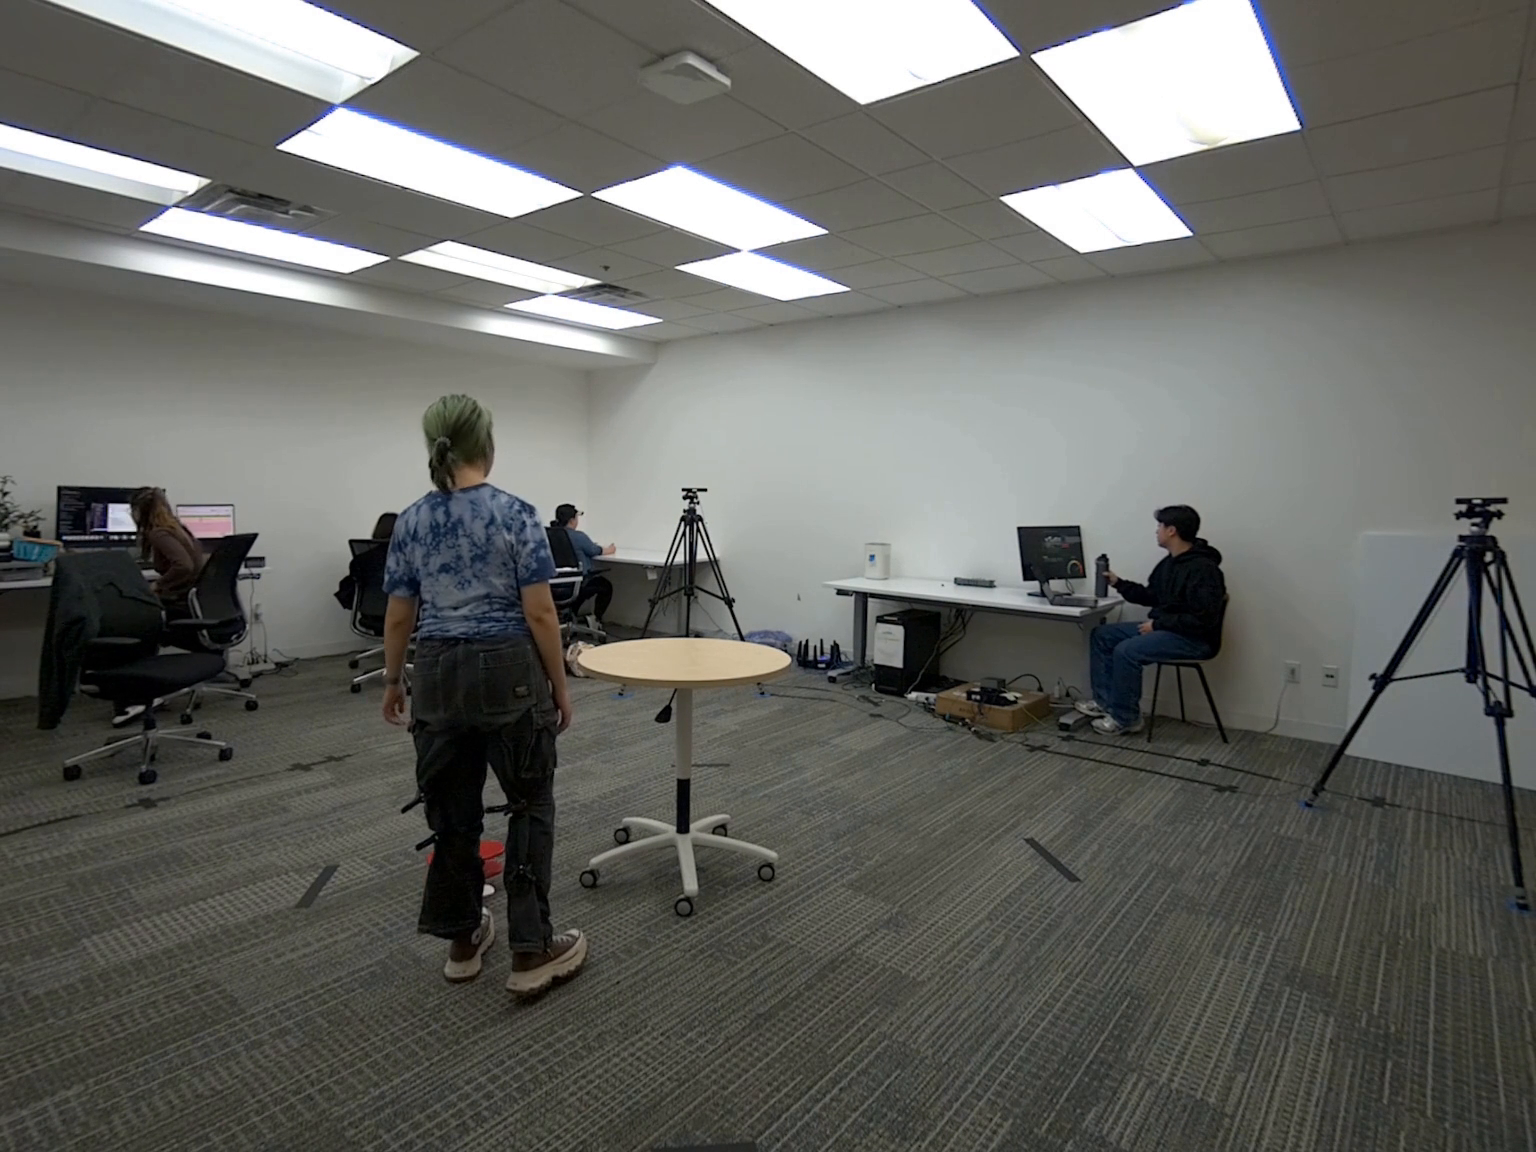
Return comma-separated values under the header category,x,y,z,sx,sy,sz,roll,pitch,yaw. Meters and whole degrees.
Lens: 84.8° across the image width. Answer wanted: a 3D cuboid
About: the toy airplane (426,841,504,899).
category,x,y,z,sx,sy,sz,roll,pitch,yaw
toy airplane,-1.003,0.999,2.876,0.267,0.156,0.245,2,5,30
